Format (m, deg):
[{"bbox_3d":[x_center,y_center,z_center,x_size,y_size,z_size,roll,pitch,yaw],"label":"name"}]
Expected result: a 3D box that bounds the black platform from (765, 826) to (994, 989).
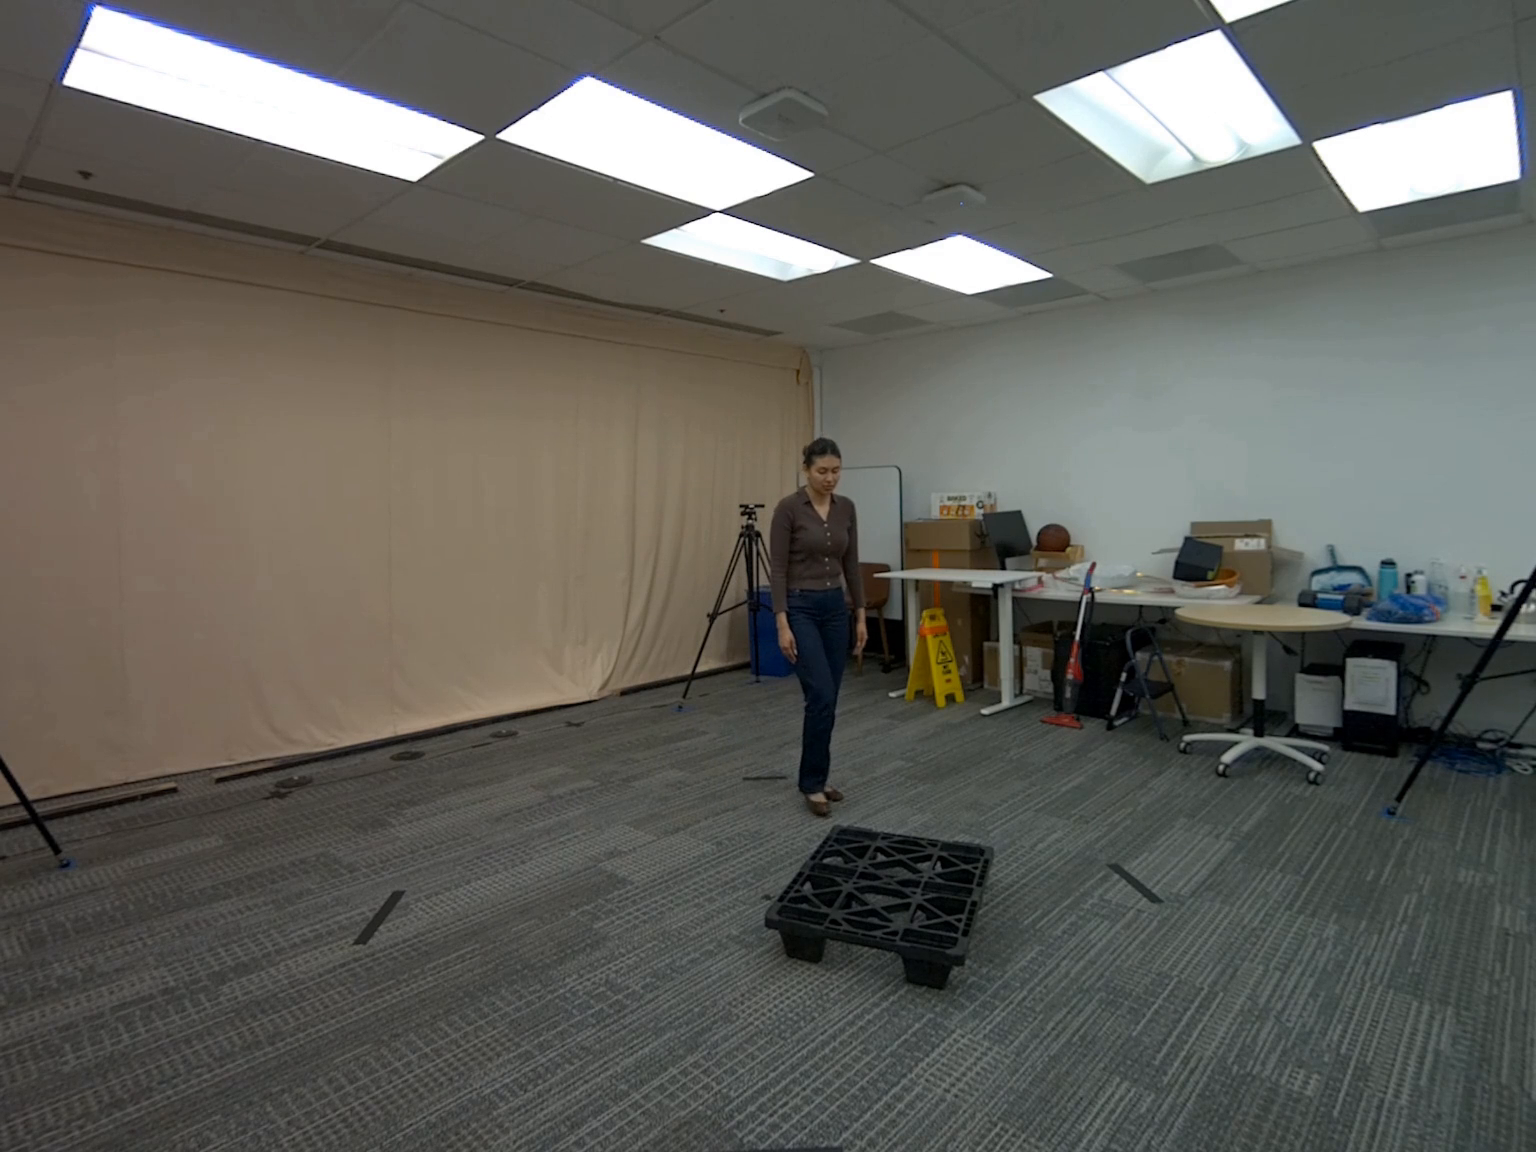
[{"bbox_3d":[0.412,1.076,2.821,0.620,0.143,0.789,2,6,22],"label":"black platform"}]
